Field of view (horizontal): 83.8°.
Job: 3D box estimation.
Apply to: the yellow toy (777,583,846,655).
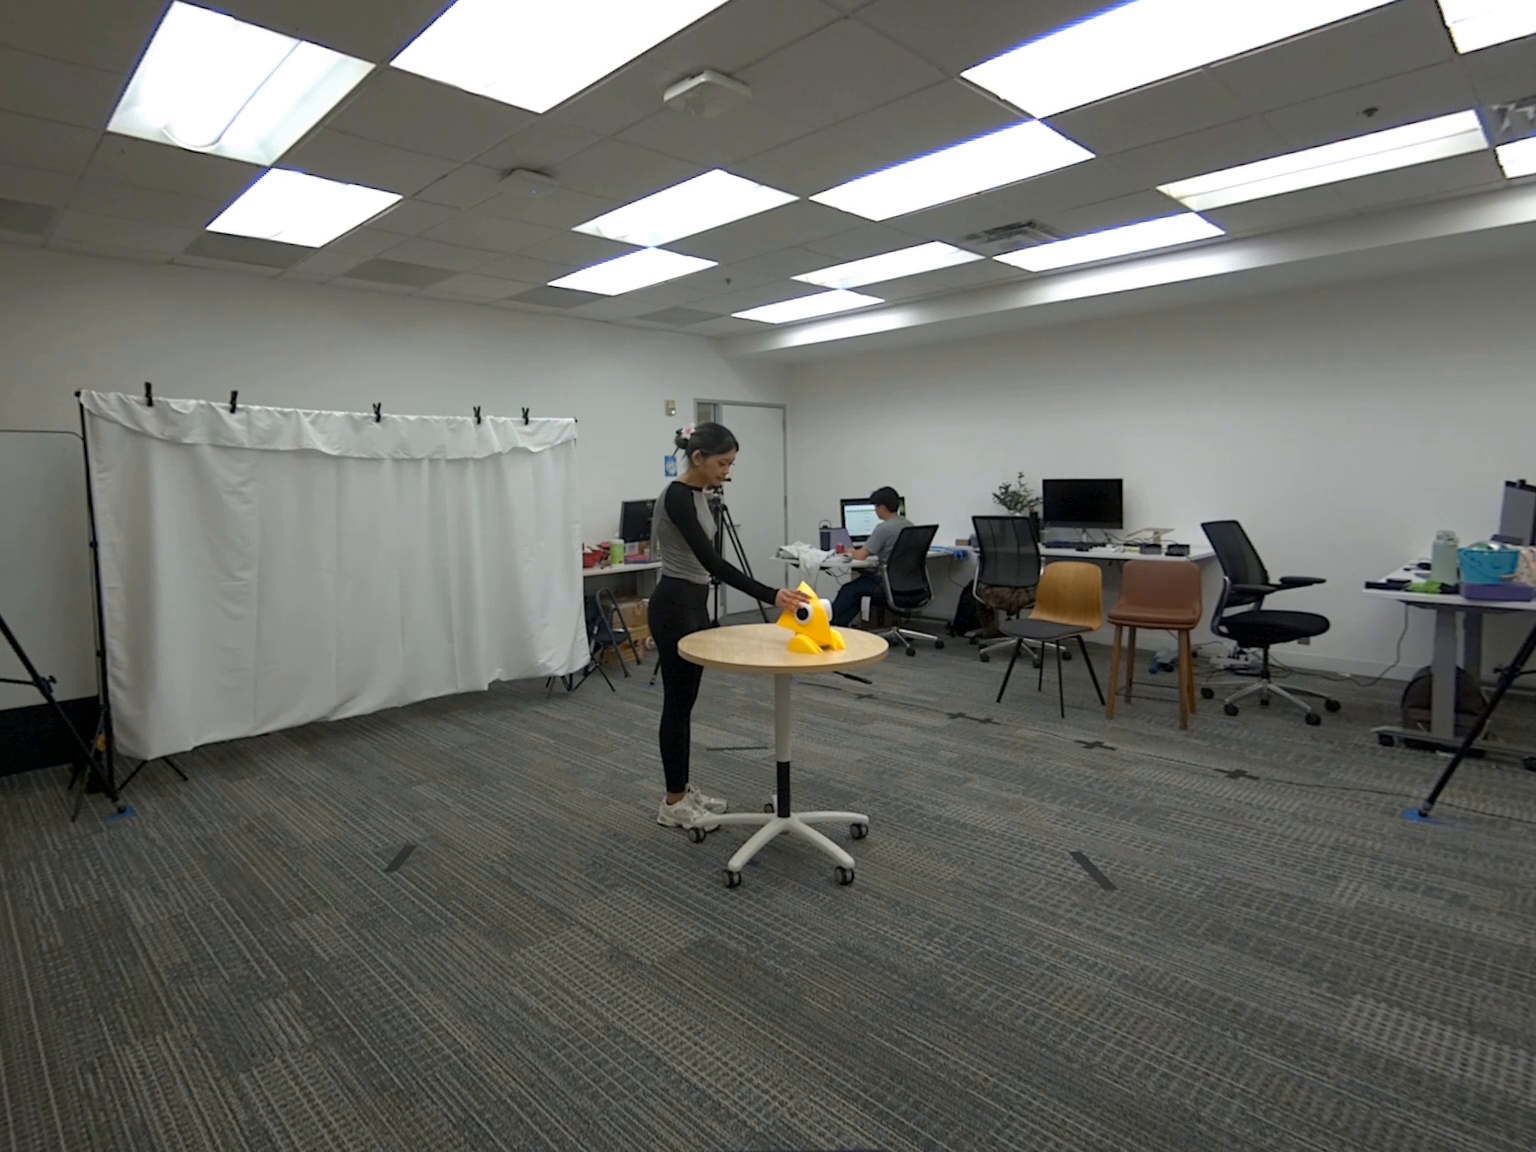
[{"bbox_3d":[0.170,0.141,3.035,0.199,0.230,0.199,-4,6,-36],"label":"yellow toy"}]
